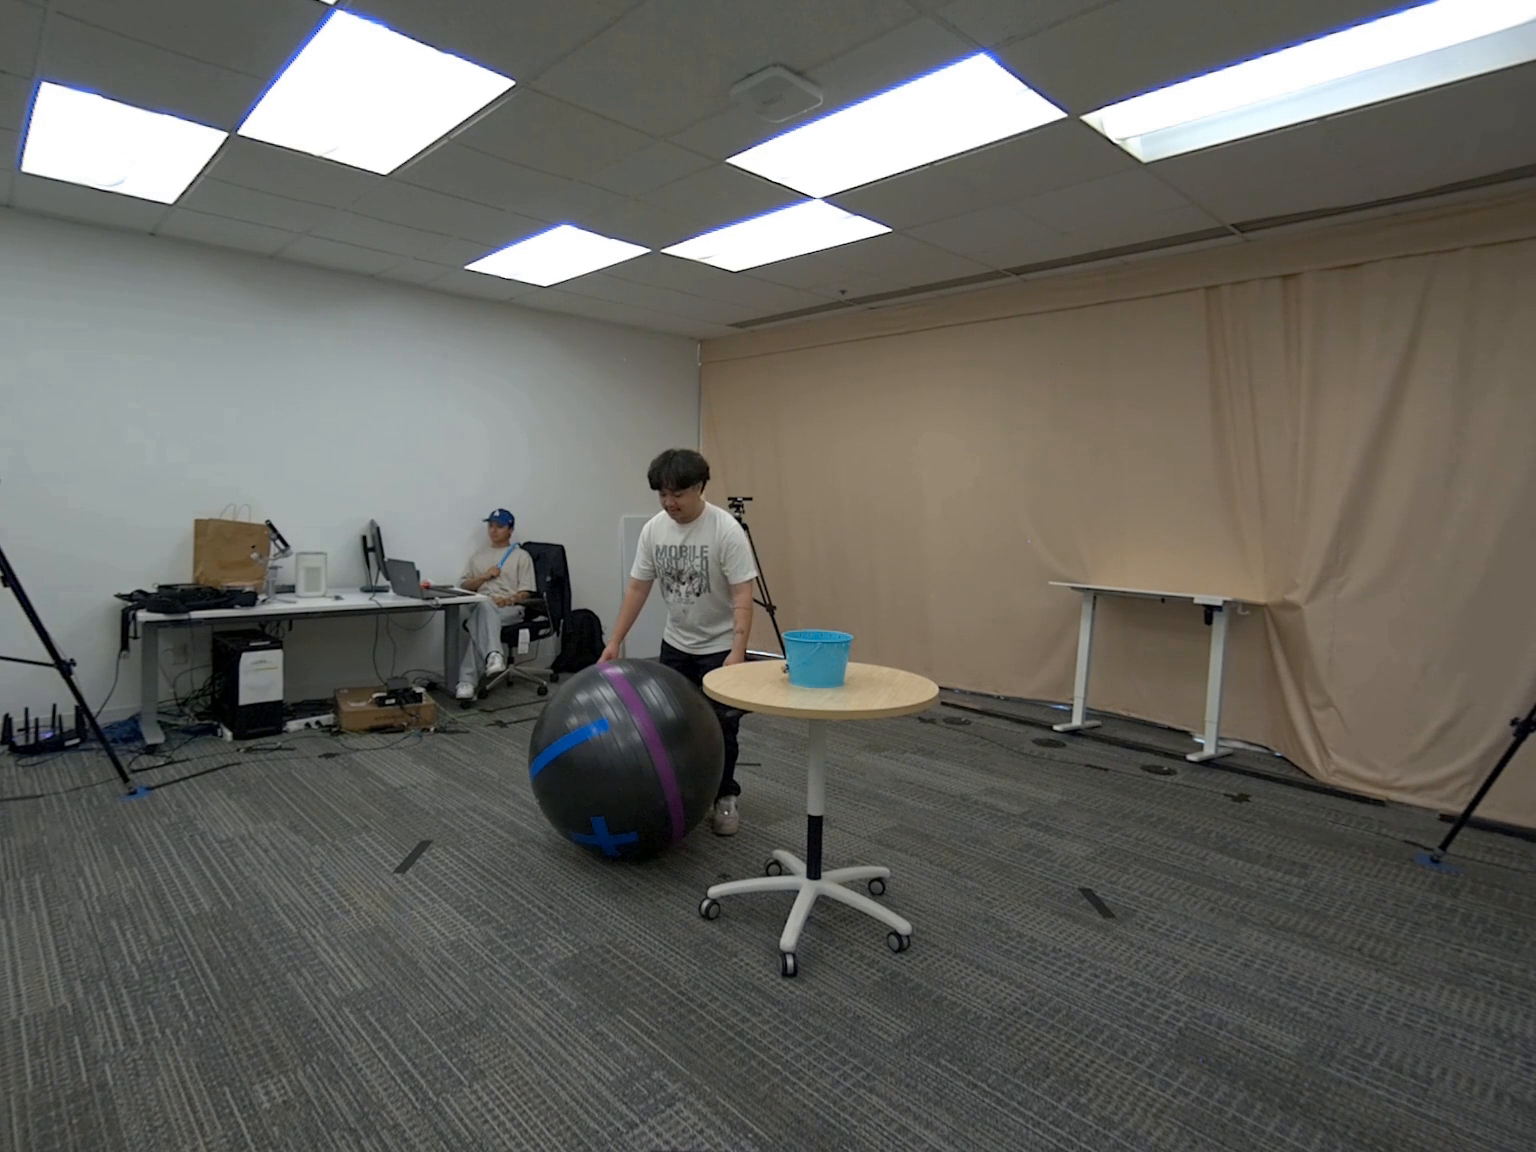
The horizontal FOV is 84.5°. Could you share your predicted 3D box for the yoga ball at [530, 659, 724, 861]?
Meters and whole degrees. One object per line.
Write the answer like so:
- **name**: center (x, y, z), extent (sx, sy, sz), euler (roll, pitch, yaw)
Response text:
- **yoga ball**: center (-0.563, 0.716, 3.300), extent (0.757, 0.756, 0.761), euler (1, 4, -1)
